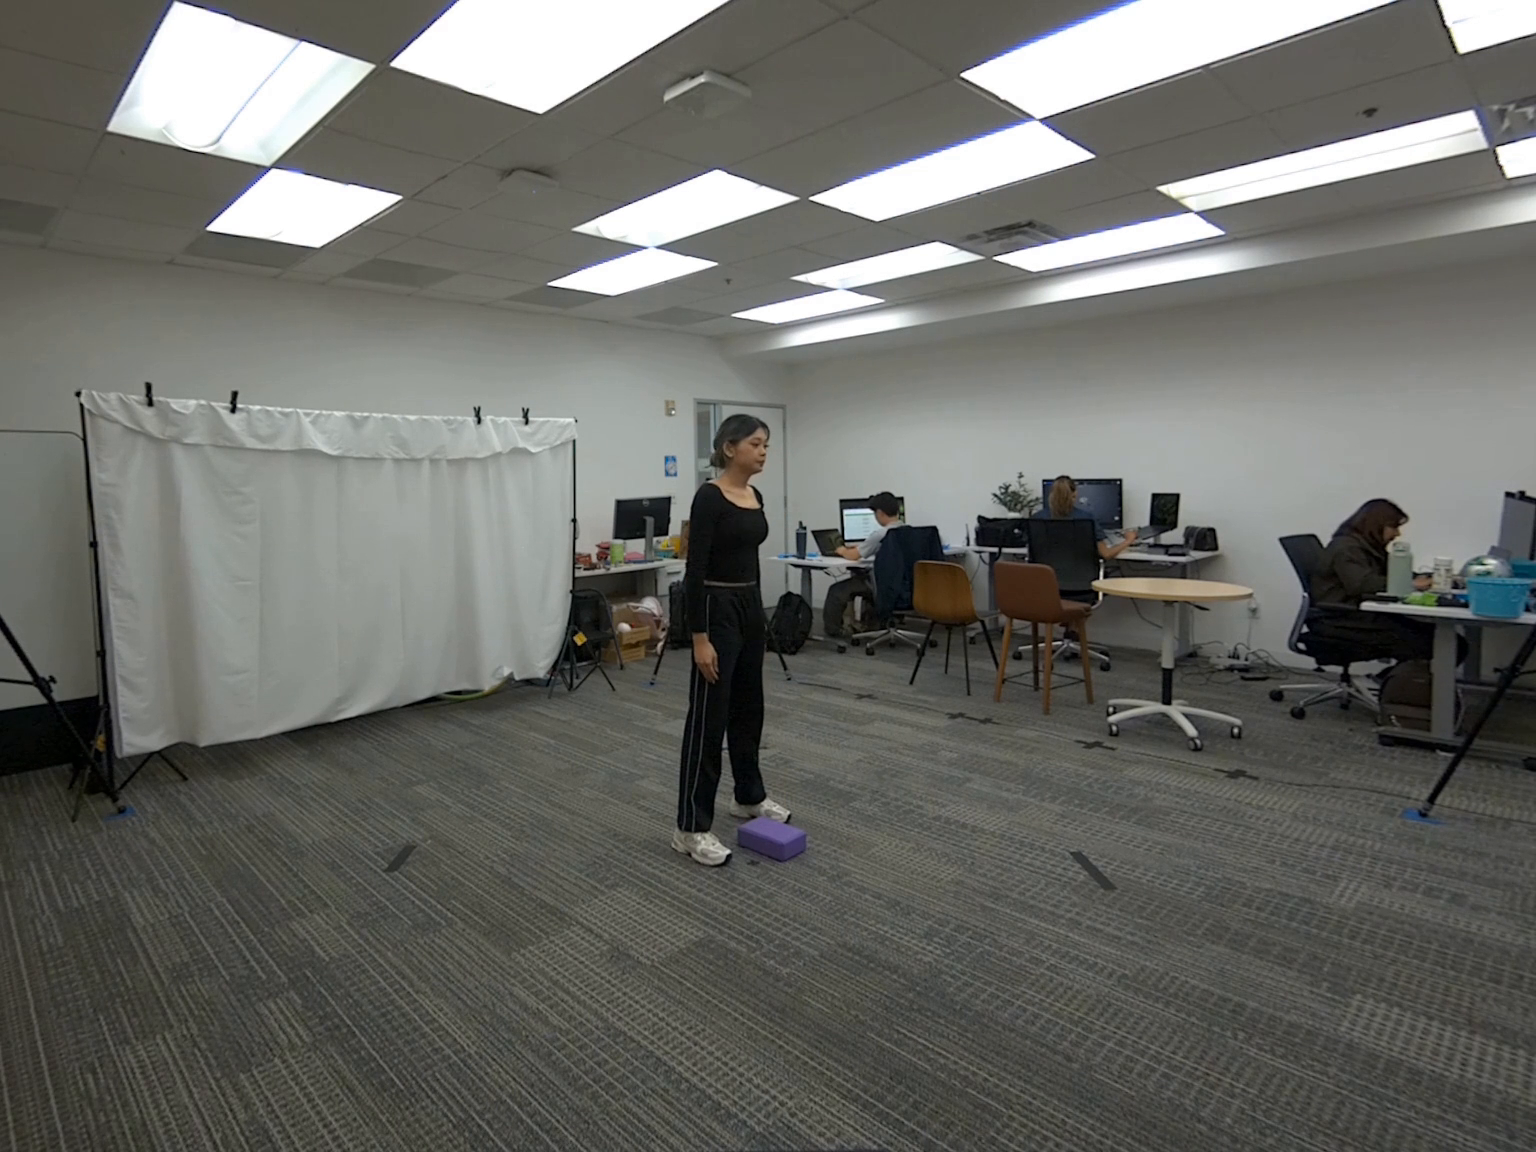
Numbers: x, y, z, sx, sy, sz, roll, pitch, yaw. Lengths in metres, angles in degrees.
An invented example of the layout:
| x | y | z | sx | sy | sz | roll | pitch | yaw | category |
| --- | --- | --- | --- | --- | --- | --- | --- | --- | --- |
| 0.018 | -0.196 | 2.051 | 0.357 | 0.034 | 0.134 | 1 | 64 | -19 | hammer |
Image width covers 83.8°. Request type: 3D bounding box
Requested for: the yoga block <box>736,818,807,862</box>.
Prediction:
| x | y | z | sx | sy | sz | roll | pitch | yaw | category |
| --- | --- | --- | --- | --- | --- | --- | --- | --- | --- |
| 0.014 | 0.984 | 3.224 | 0.236 | 0.076 | 0.145 | 6 | 8 | 41 | yoga block |
